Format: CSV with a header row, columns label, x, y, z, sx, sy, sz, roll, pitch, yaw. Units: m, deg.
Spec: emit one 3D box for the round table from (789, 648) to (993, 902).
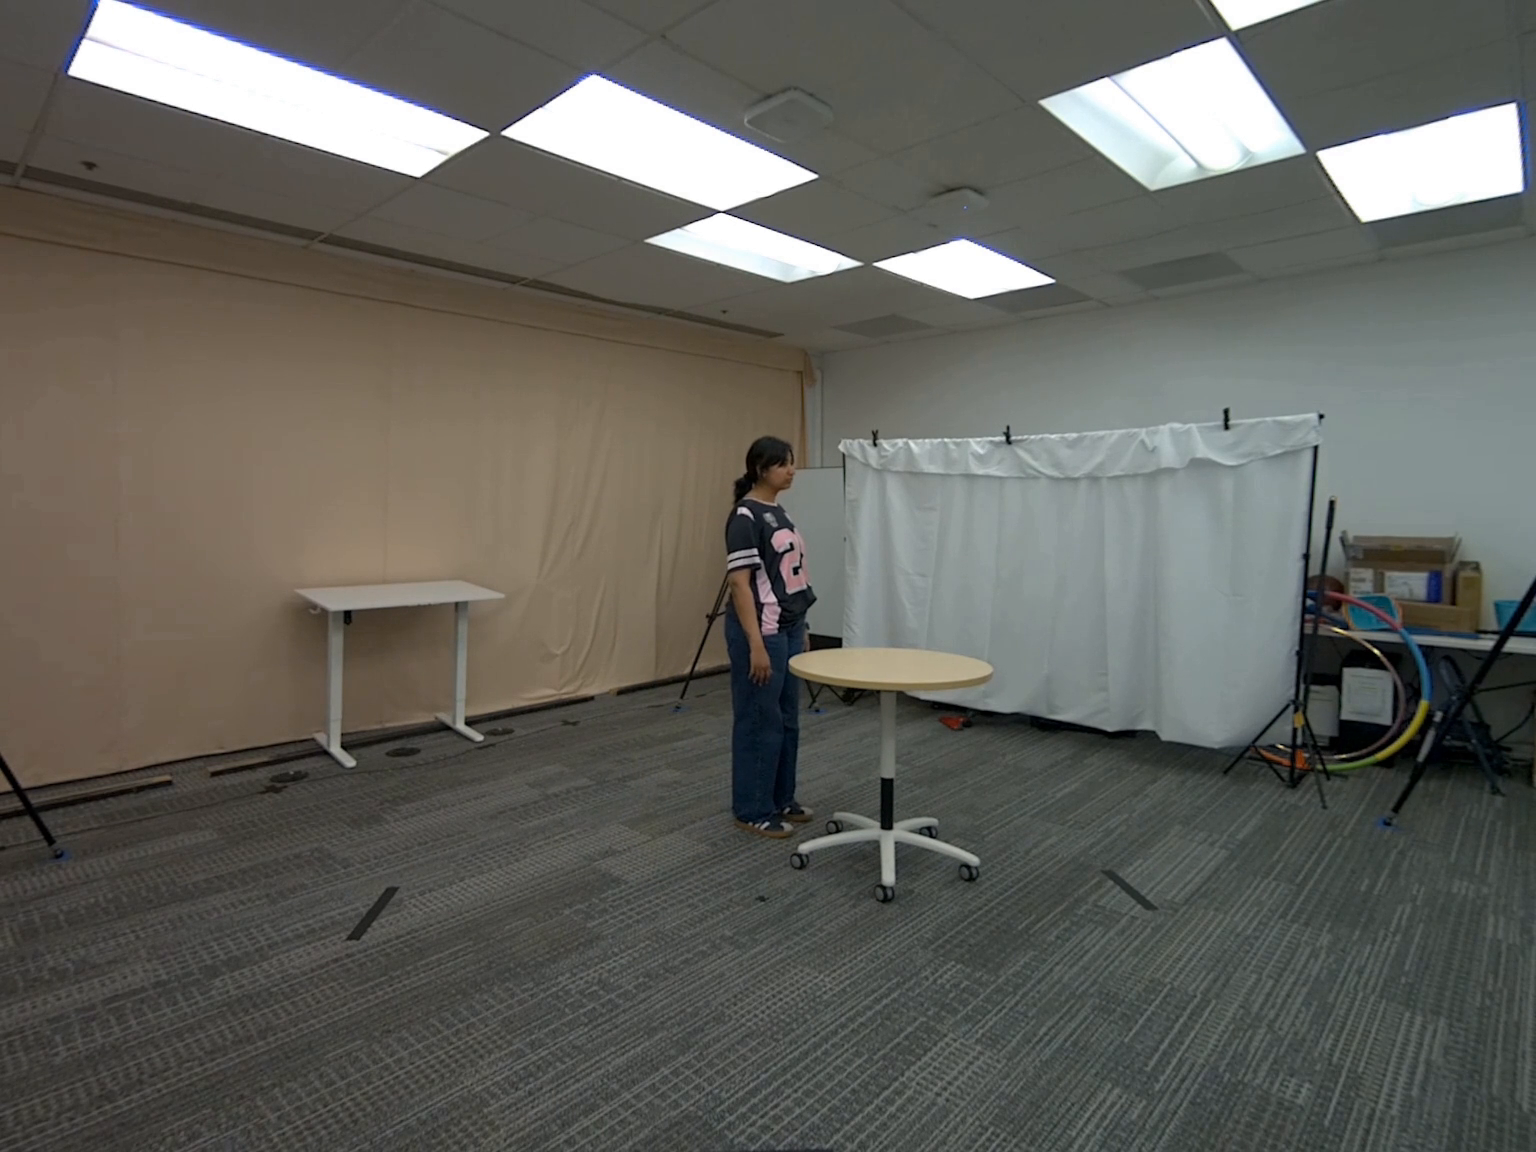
label,x,y,z,sx,sy,sz,roll,pitch,yaw
round table,0.467,0.732,3.249,0.763,0.793,0.766,0,3,-2
